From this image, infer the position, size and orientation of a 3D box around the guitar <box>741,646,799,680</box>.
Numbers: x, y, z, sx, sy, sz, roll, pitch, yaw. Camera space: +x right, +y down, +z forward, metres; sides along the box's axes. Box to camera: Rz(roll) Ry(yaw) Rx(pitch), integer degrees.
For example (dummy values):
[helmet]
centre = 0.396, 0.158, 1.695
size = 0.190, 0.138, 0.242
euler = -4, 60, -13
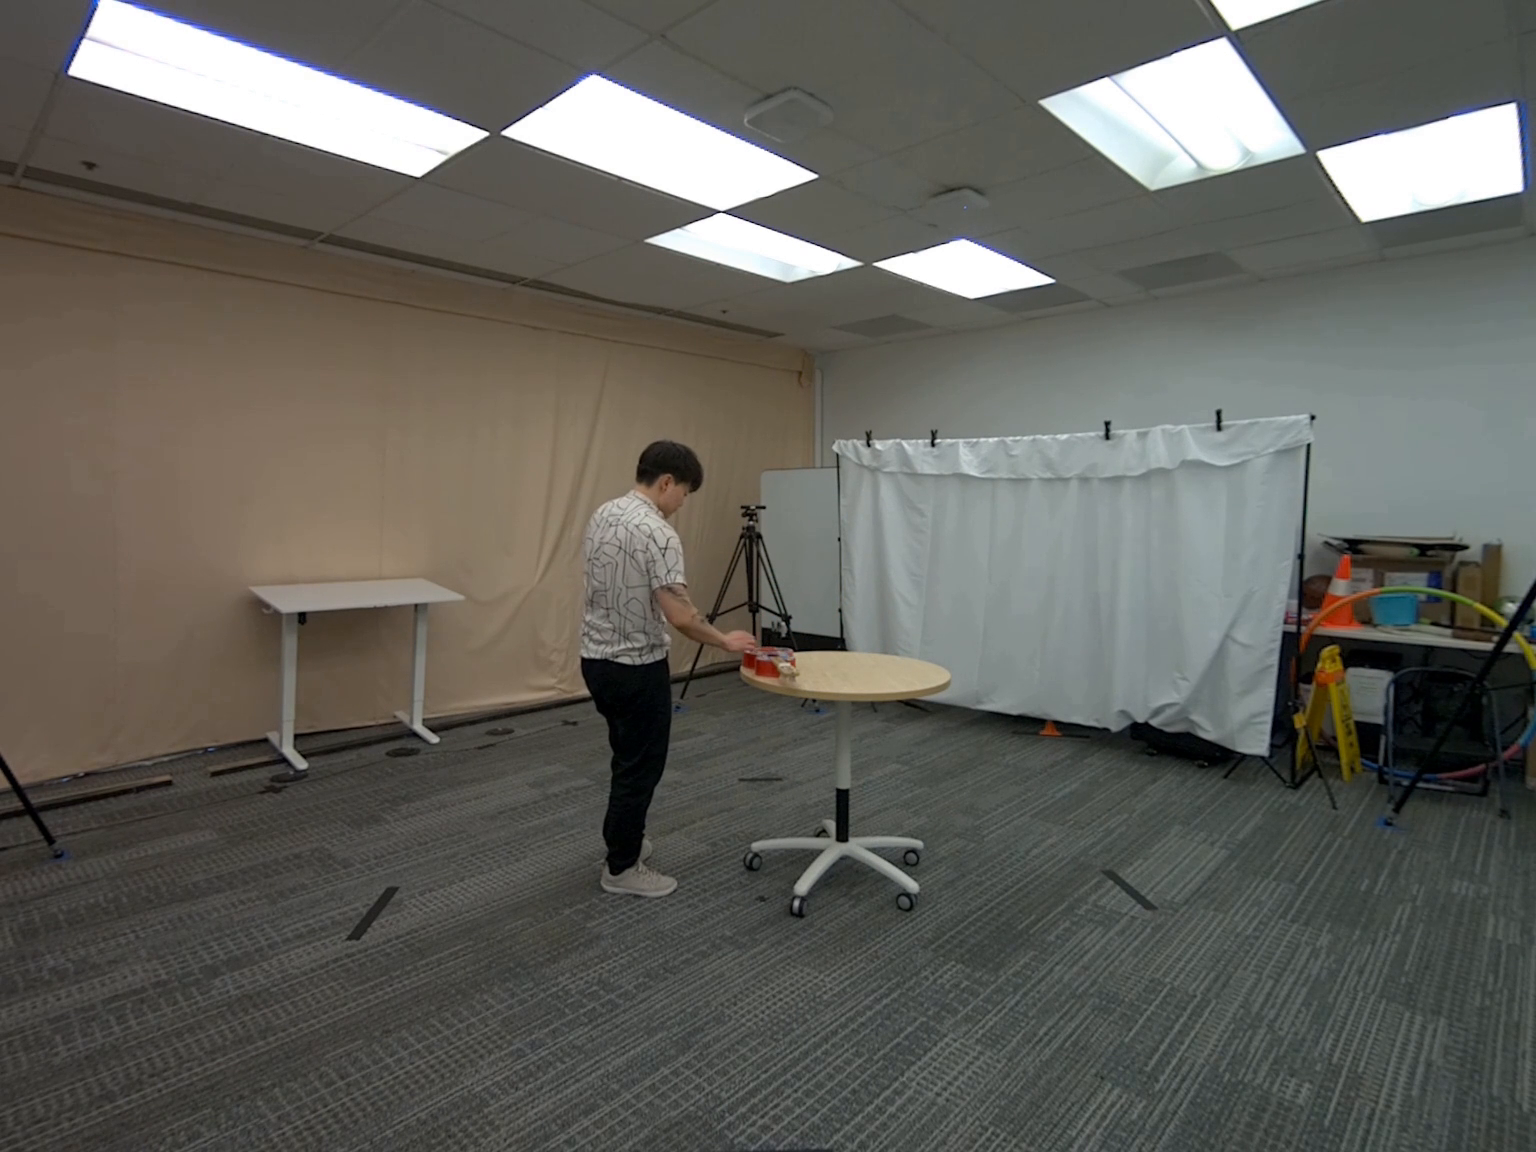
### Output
[guitar]
centre = 0.005, 0.325, 2.997
size = 0.193, 0.070, 0.499
euler = 0, 5, -1
